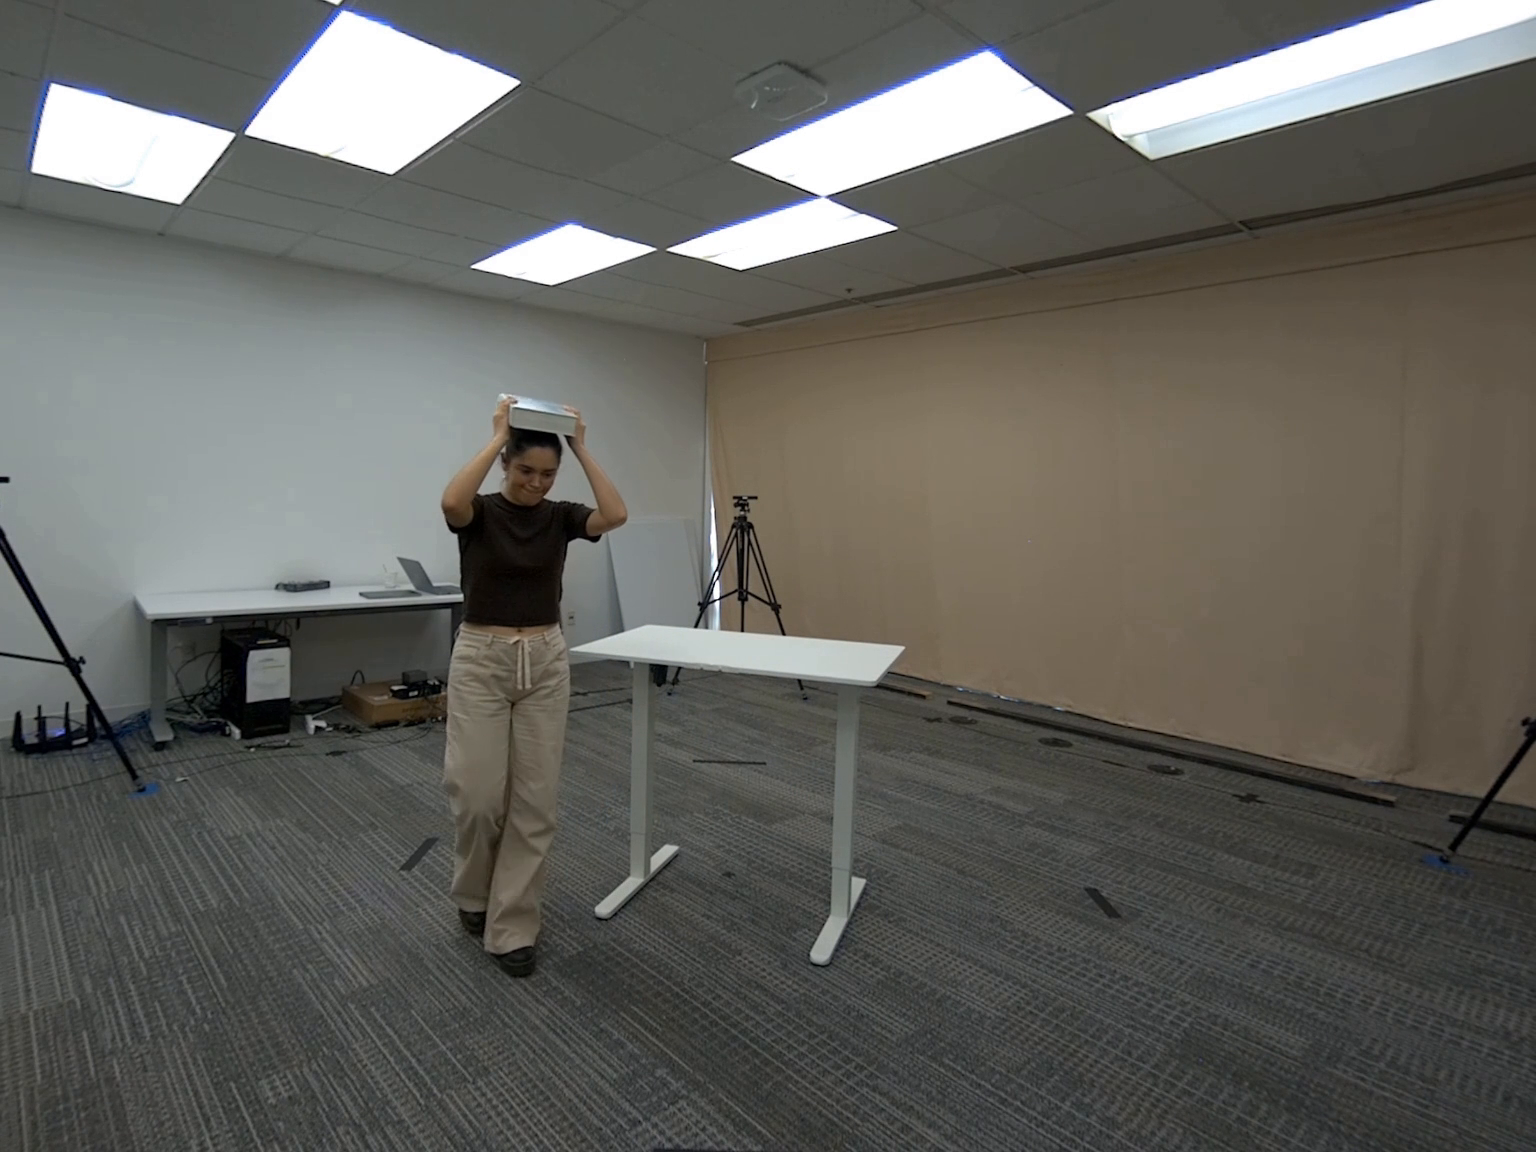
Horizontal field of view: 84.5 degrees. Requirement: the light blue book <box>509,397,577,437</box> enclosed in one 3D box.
[{"bbox_3d":[-0.709,-0.477,2.467,0.187,0.058,0.268,6,16,-27],"label":"light blue book"}]
